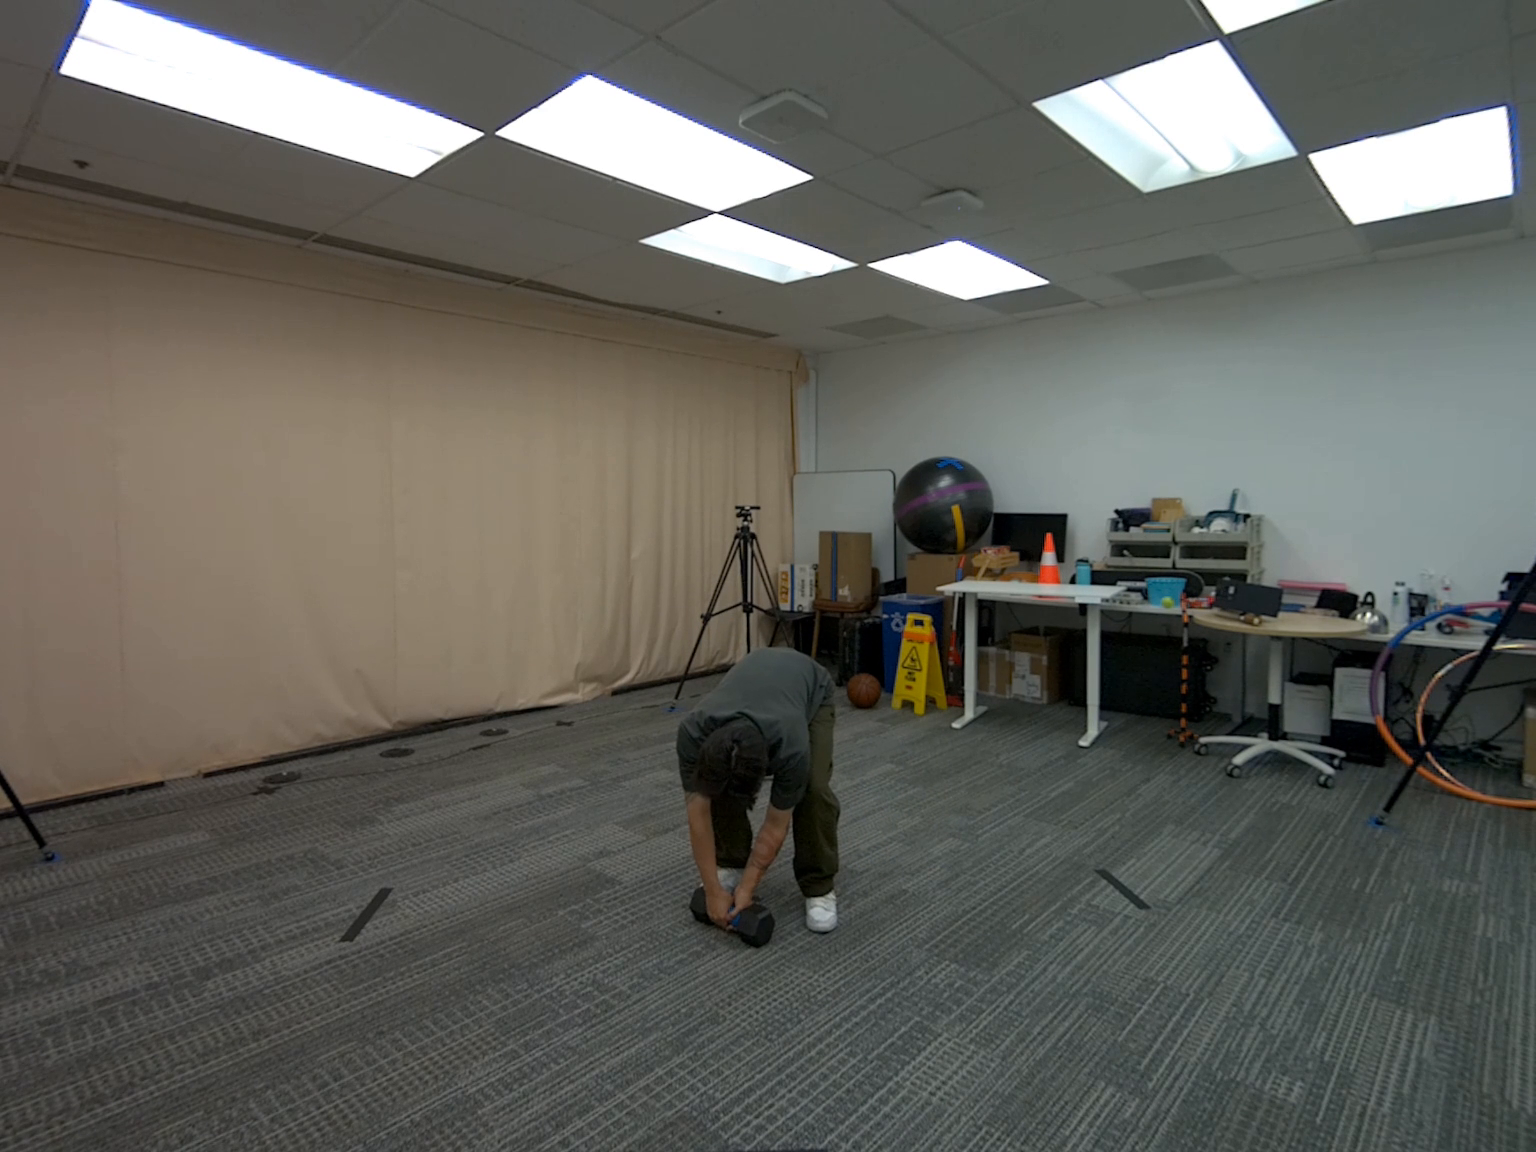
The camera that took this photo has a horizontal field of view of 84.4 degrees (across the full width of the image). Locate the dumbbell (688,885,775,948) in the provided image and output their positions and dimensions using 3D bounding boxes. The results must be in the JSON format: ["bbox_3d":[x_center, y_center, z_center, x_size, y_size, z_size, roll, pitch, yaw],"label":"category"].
[{"bbox_3d":[-0.117,1.108,2.758,0.303,0.120,0.107,4,36,42],"label":"dumbbell"}]
